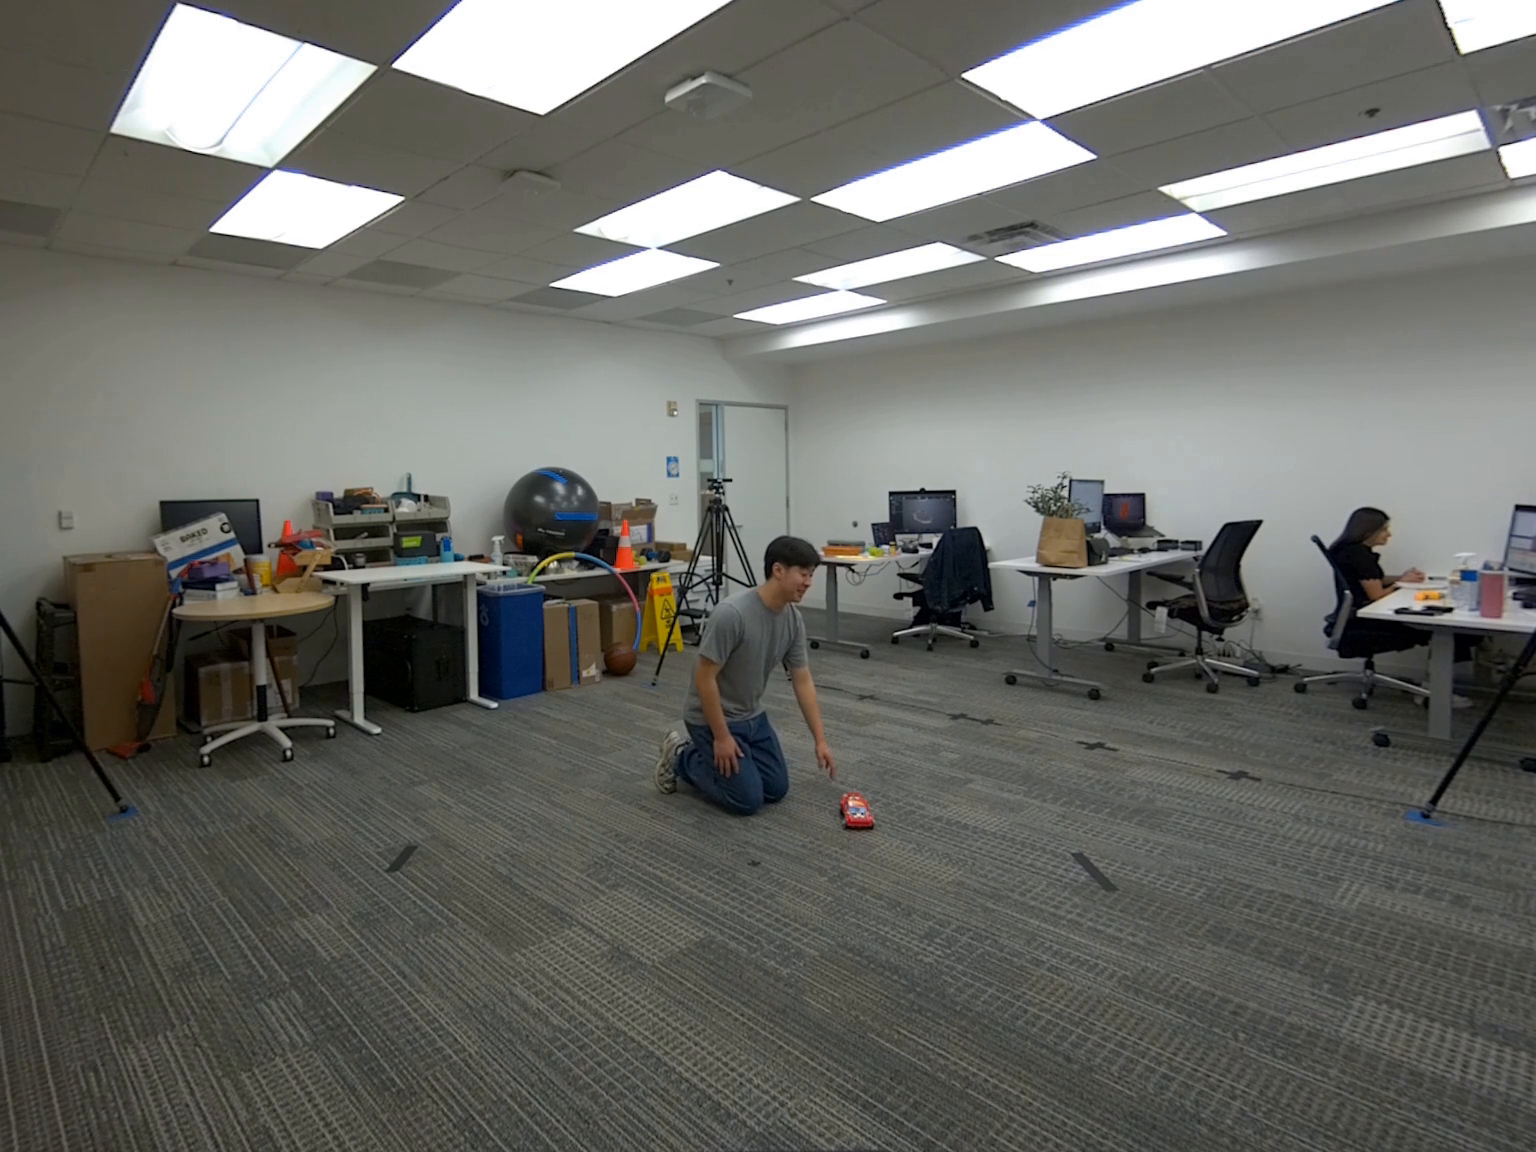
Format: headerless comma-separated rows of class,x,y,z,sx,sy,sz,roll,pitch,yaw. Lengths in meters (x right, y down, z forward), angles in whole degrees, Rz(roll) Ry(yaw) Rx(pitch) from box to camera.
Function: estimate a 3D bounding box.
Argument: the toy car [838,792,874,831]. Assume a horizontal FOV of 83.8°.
toy car,0.365,0.962,3.495,0.130,0.082,0.258,-3,16,0
